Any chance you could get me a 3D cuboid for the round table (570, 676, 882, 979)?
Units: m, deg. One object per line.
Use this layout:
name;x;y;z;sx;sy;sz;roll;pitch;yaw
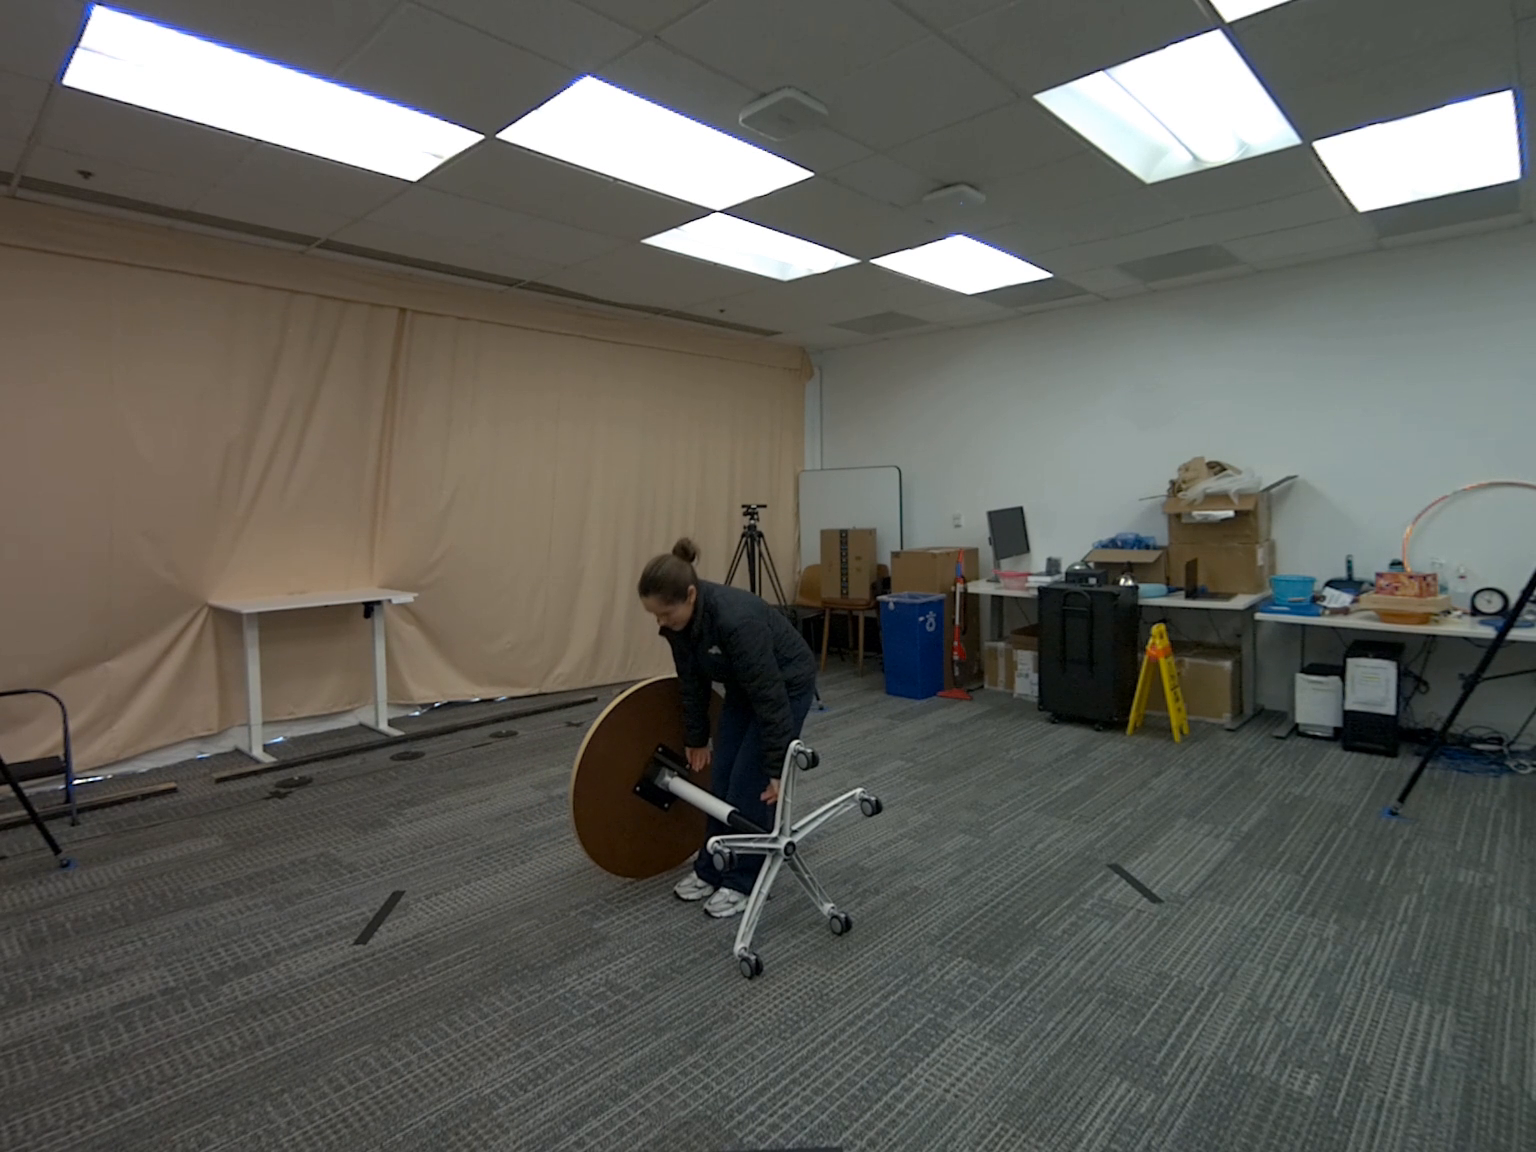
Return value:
round table;-0.119;0.813;2.874;0.761;0.781;0.814;-4;11;-42
